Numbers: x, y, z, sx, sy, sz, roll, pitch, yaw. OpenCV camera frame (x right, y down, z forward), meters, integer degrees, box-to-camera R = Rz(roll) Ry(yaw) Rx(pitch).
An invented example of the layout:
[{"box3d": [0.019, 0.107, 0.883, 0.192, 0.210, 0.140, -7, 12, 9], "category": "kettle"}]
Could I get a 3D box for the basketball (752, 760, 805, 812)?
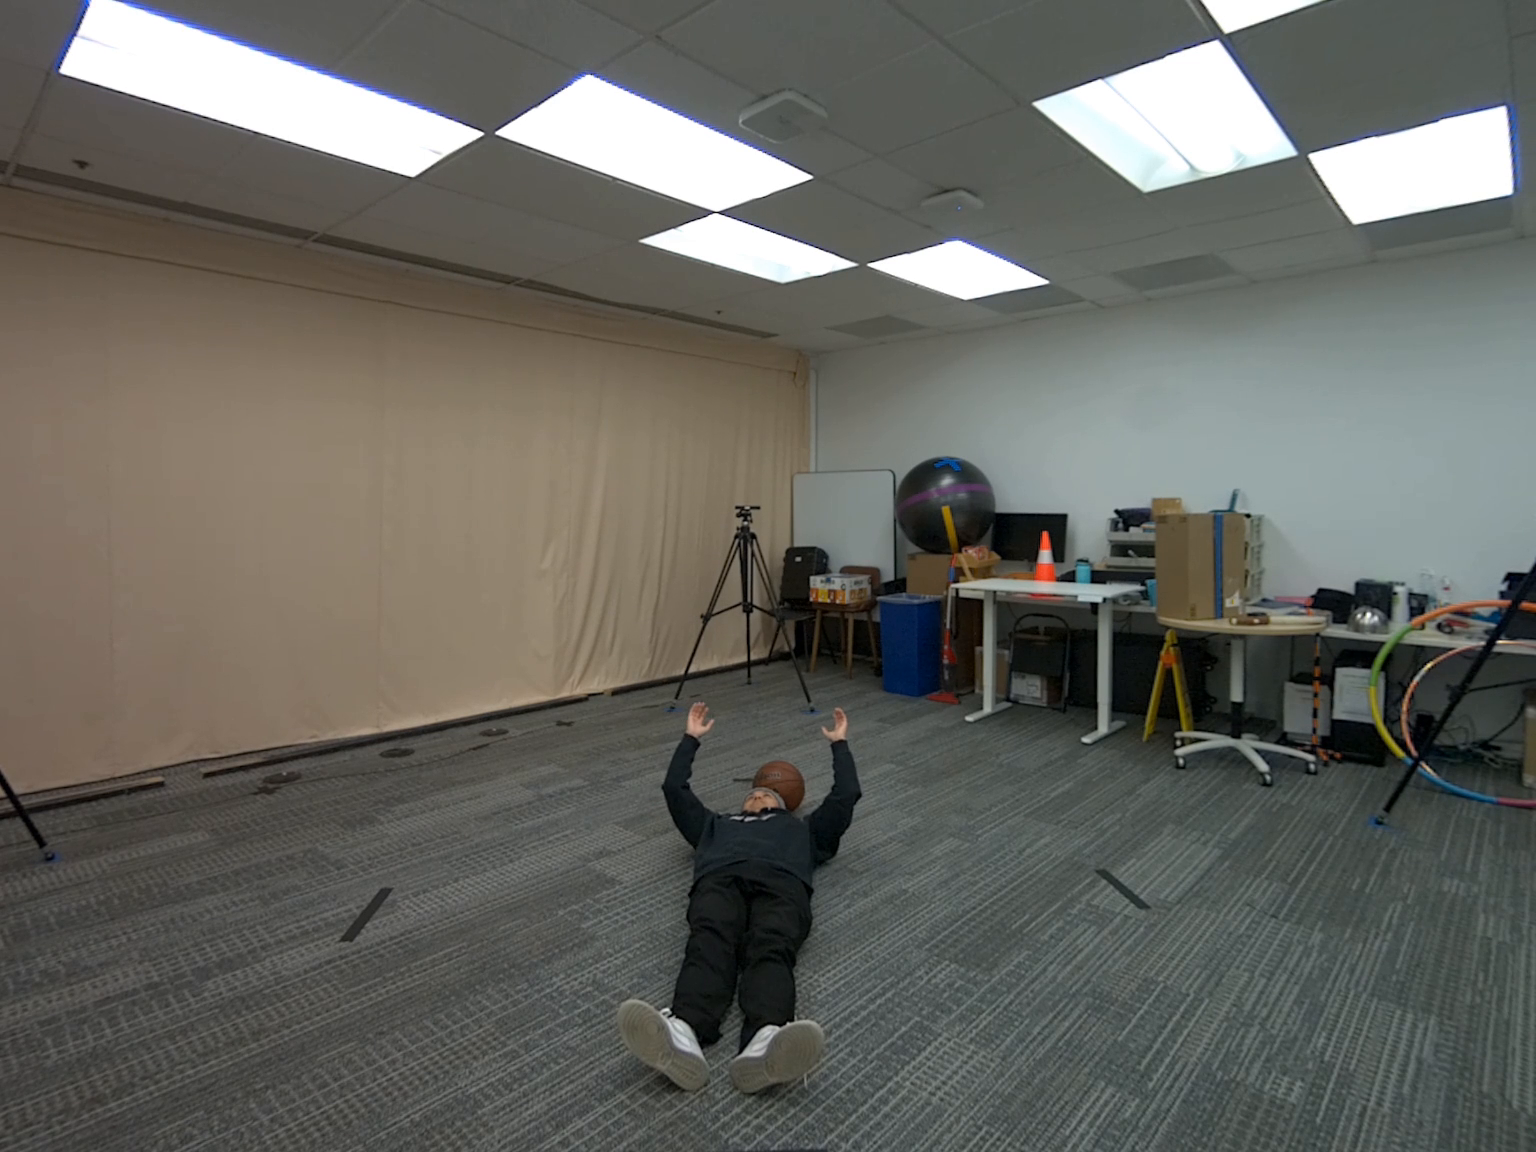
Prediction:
[{"box3d": [0.049, 0.956, 3.806, 0.236, 0.235, 0.237, 0, 4, -2], "category": "basketball"}]
